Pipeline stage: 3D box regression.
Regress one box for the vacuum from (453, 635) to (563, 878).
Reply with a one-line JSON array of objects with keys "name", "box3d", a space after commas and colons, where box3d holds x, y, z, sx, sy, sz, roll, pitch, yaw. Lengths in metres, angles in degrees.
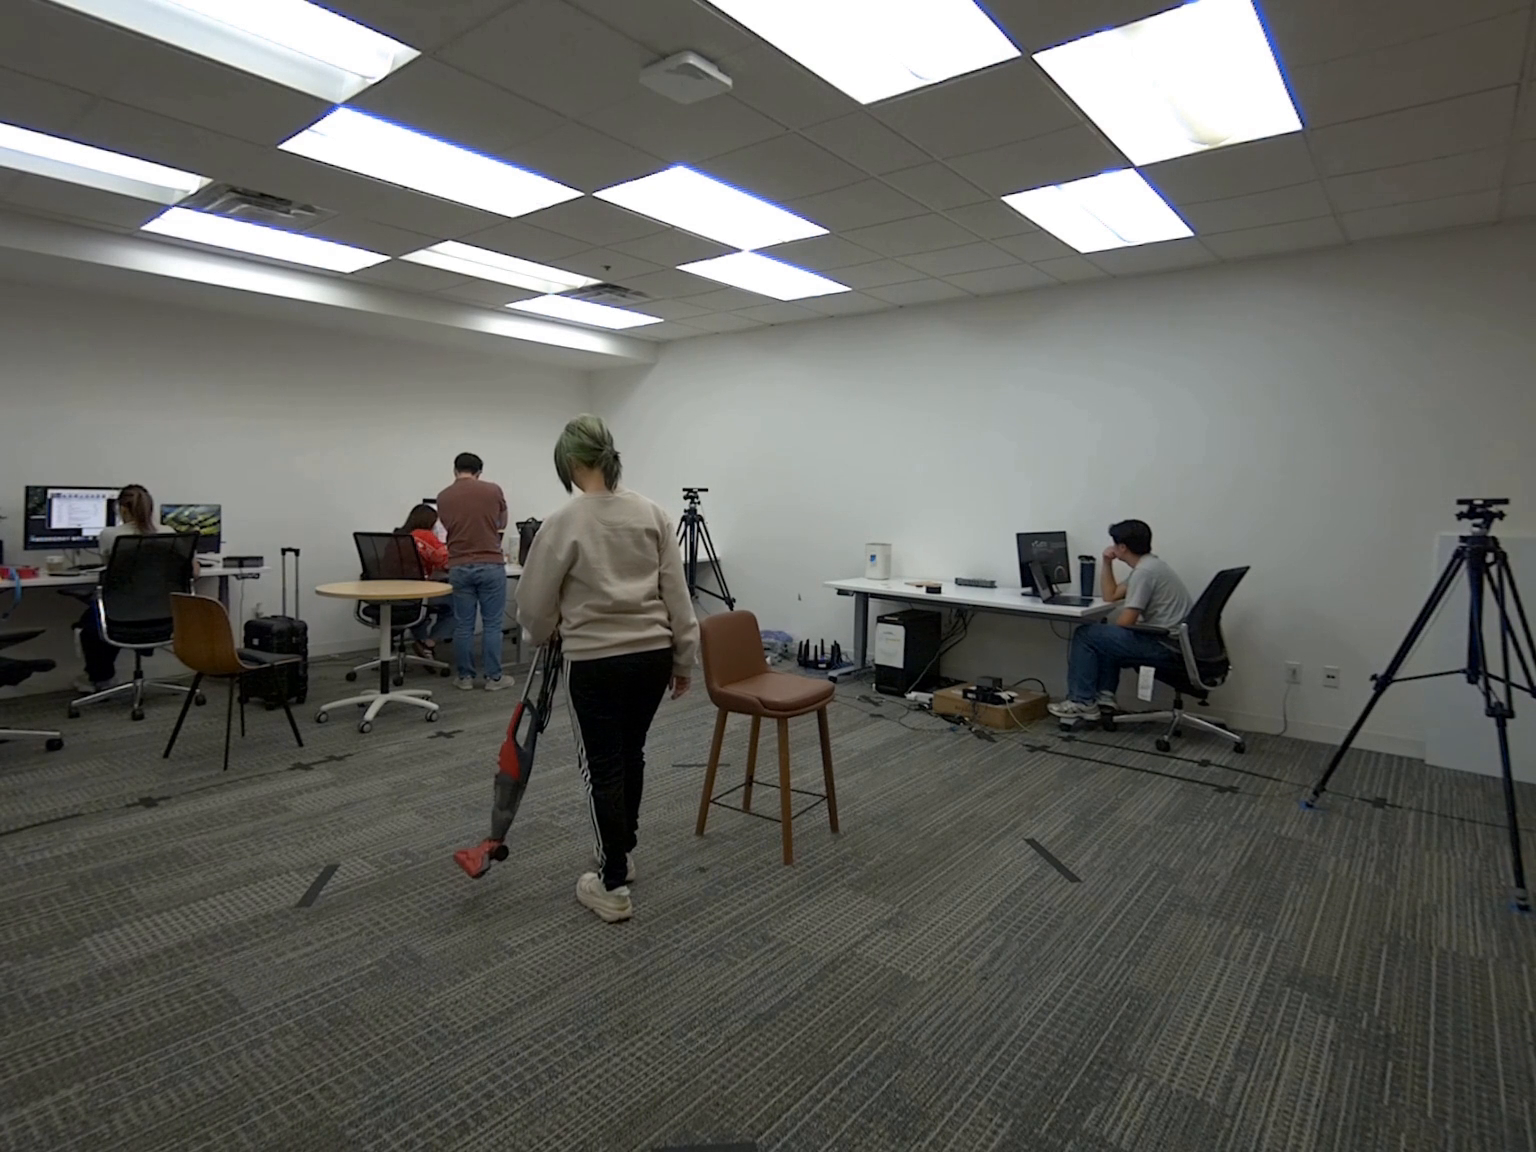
[{"name": "vacuum", "box3d": [-0.833, 0.454, 2.985, 0.139, 1.059, 0.259, 25, -18, -32]}]
